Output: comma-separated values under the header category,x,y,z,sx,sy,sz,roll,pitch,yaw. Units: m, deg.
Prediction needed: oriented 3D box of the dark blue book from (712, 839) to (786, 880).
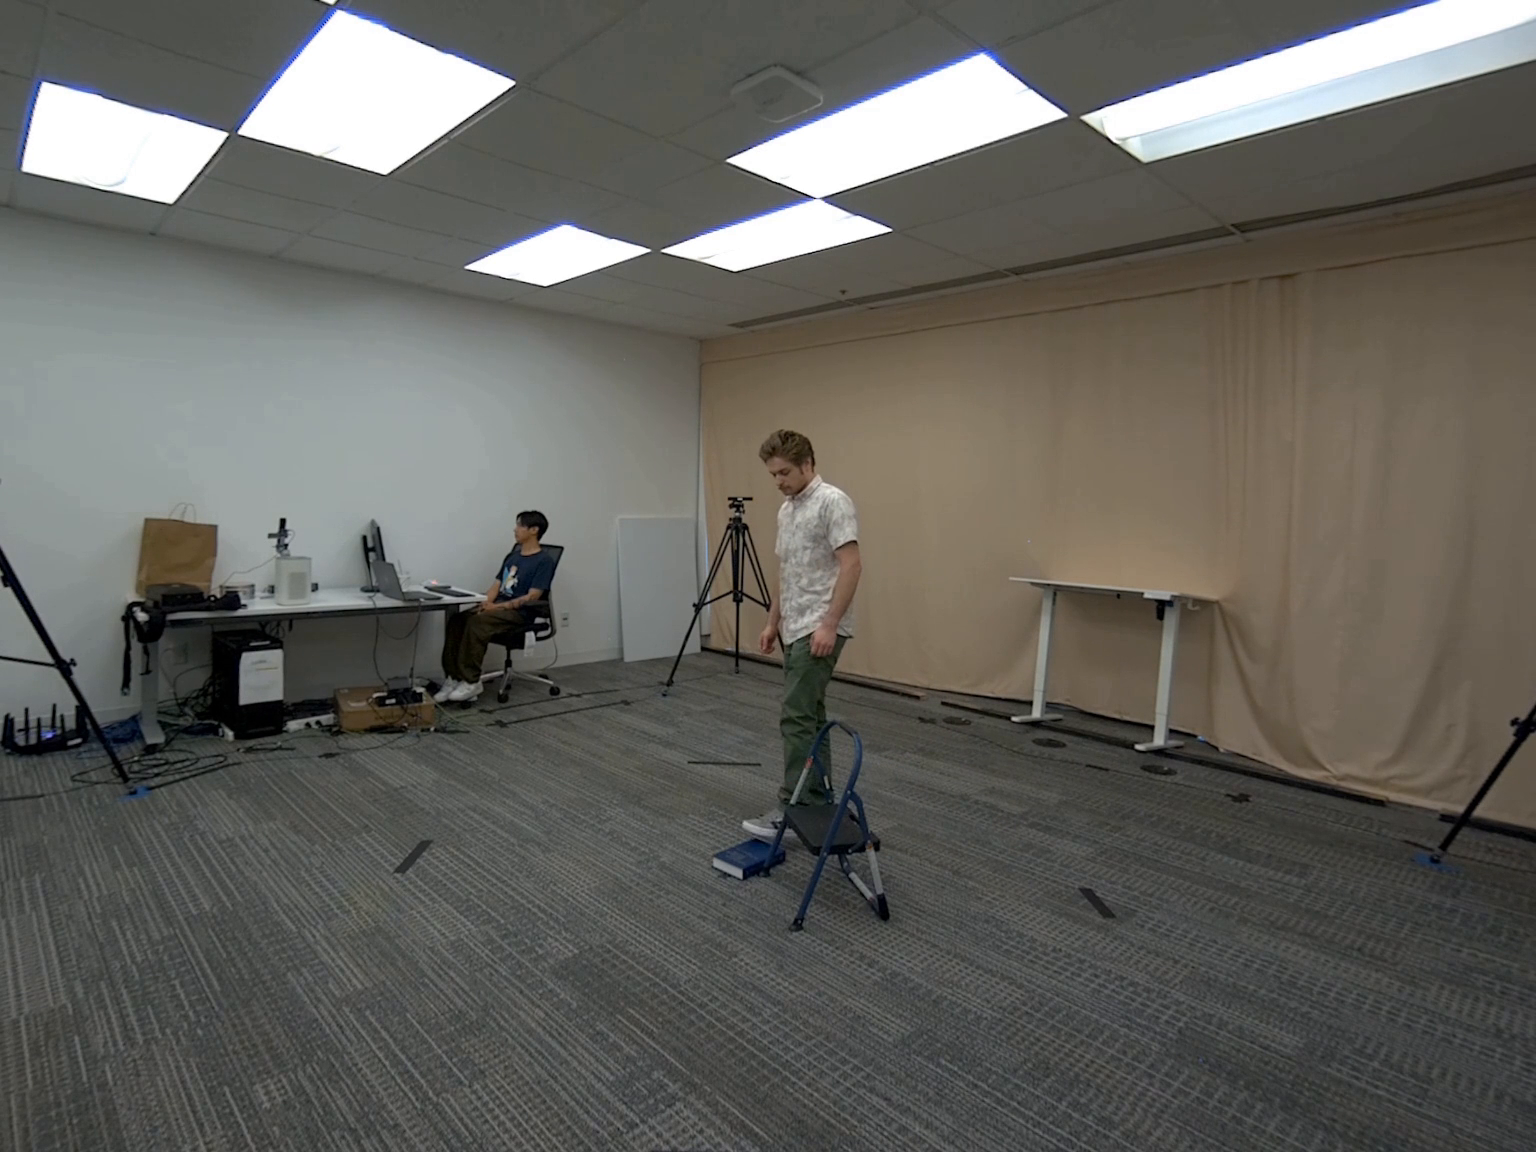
category,x,y,z,sx,sy,sz,roll,pitch,yaw
dark blue book,-0.079,1.074,3.209,0.167,0.045,0.239,5,6,42
